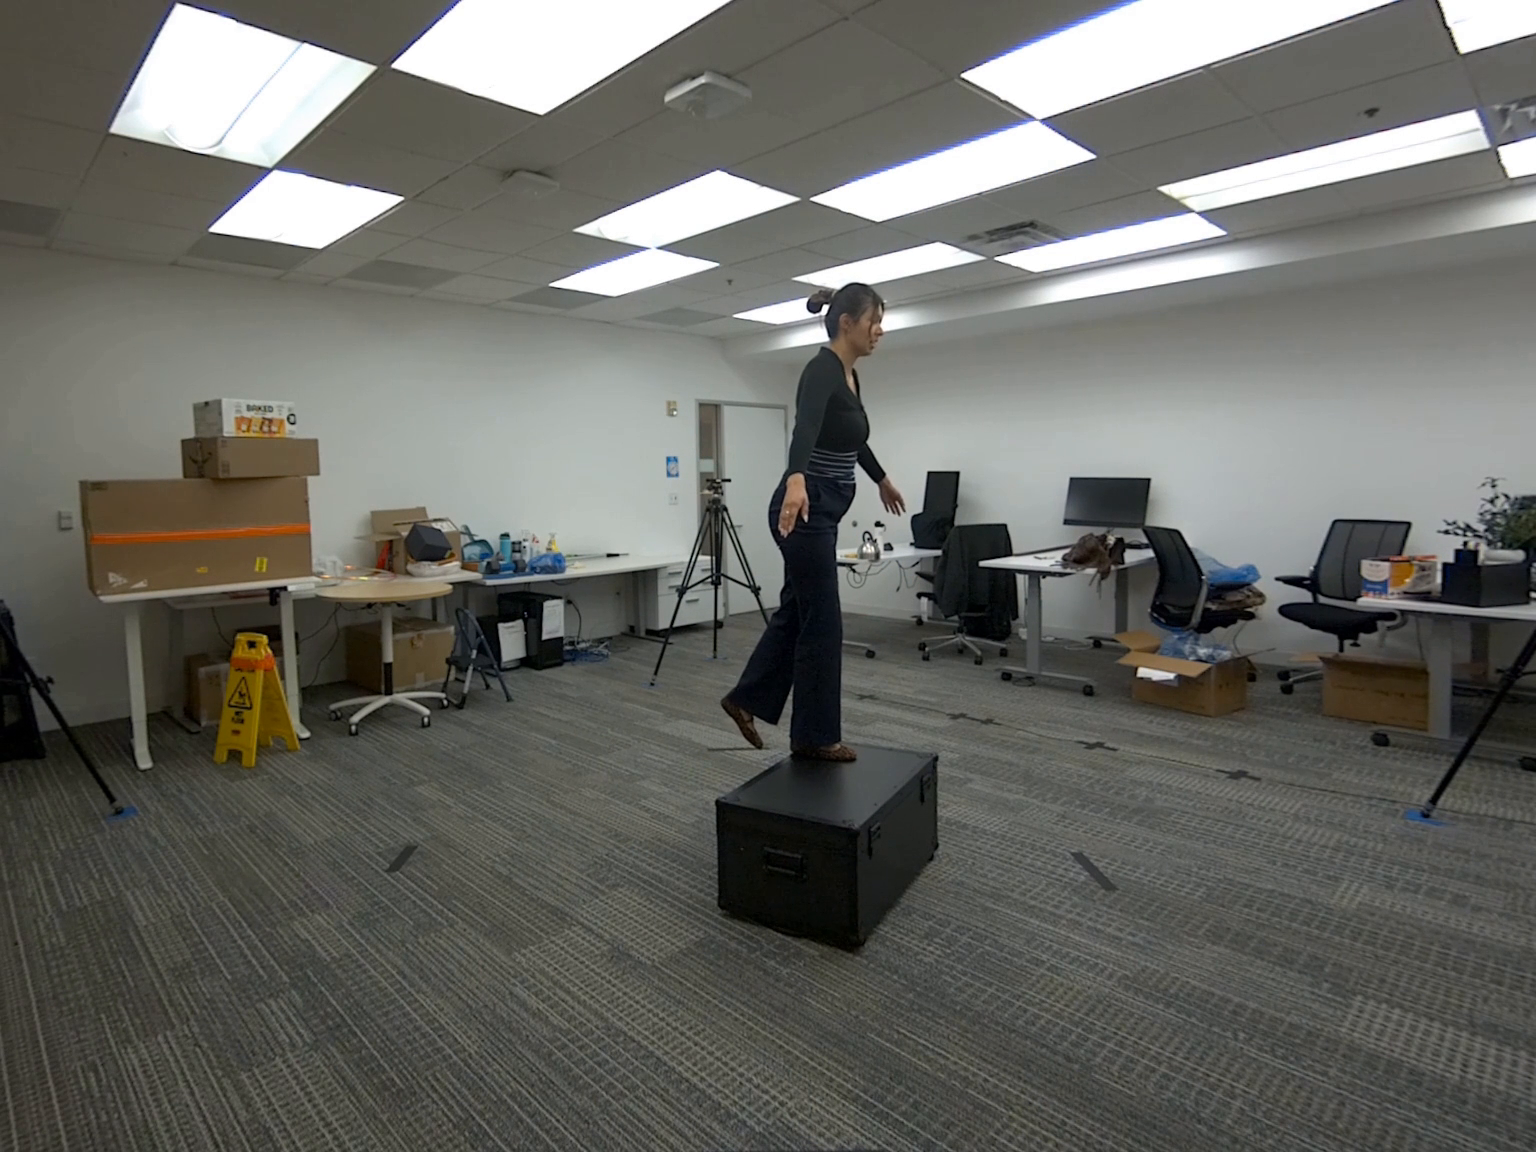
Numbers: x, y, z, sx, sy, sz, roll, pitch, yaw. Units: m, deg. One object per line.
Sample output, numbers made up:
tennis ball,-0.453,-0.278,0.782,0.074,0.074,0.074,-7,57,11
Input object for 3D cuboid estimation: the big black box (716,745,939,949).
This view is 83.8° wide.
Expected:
big black box,0.250,0.865,2.957,0.535,0.395,0.843,1,6,29
